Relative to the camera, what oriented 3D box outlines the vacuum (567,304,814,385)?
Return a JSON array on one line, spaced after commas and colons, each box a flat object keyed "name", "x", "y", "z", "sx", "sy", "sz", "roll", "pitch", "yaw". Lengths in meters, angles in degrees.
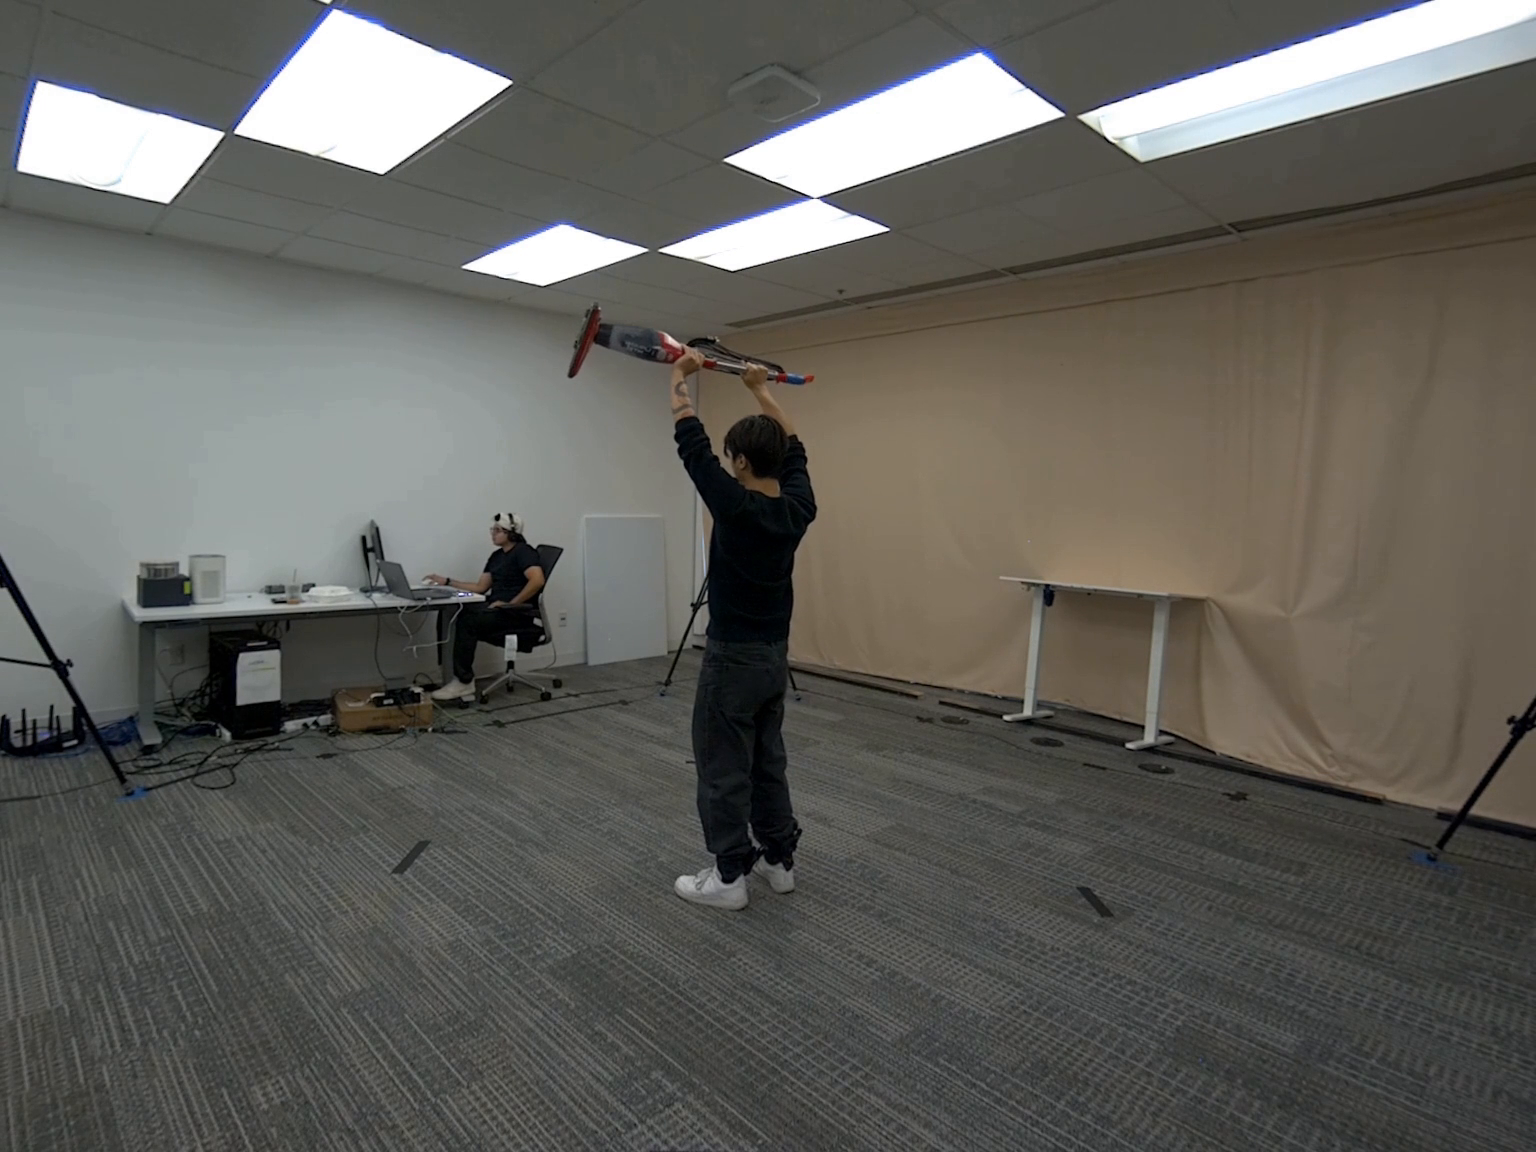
[{"name": "vacuum", "x": -0.223, "y": -0.781, "z": 3.007, "sx": 1.025, "sy": 0.250, "sz": 0.148, "roll": -3, "pitch": 38, "yaw": -42}]
